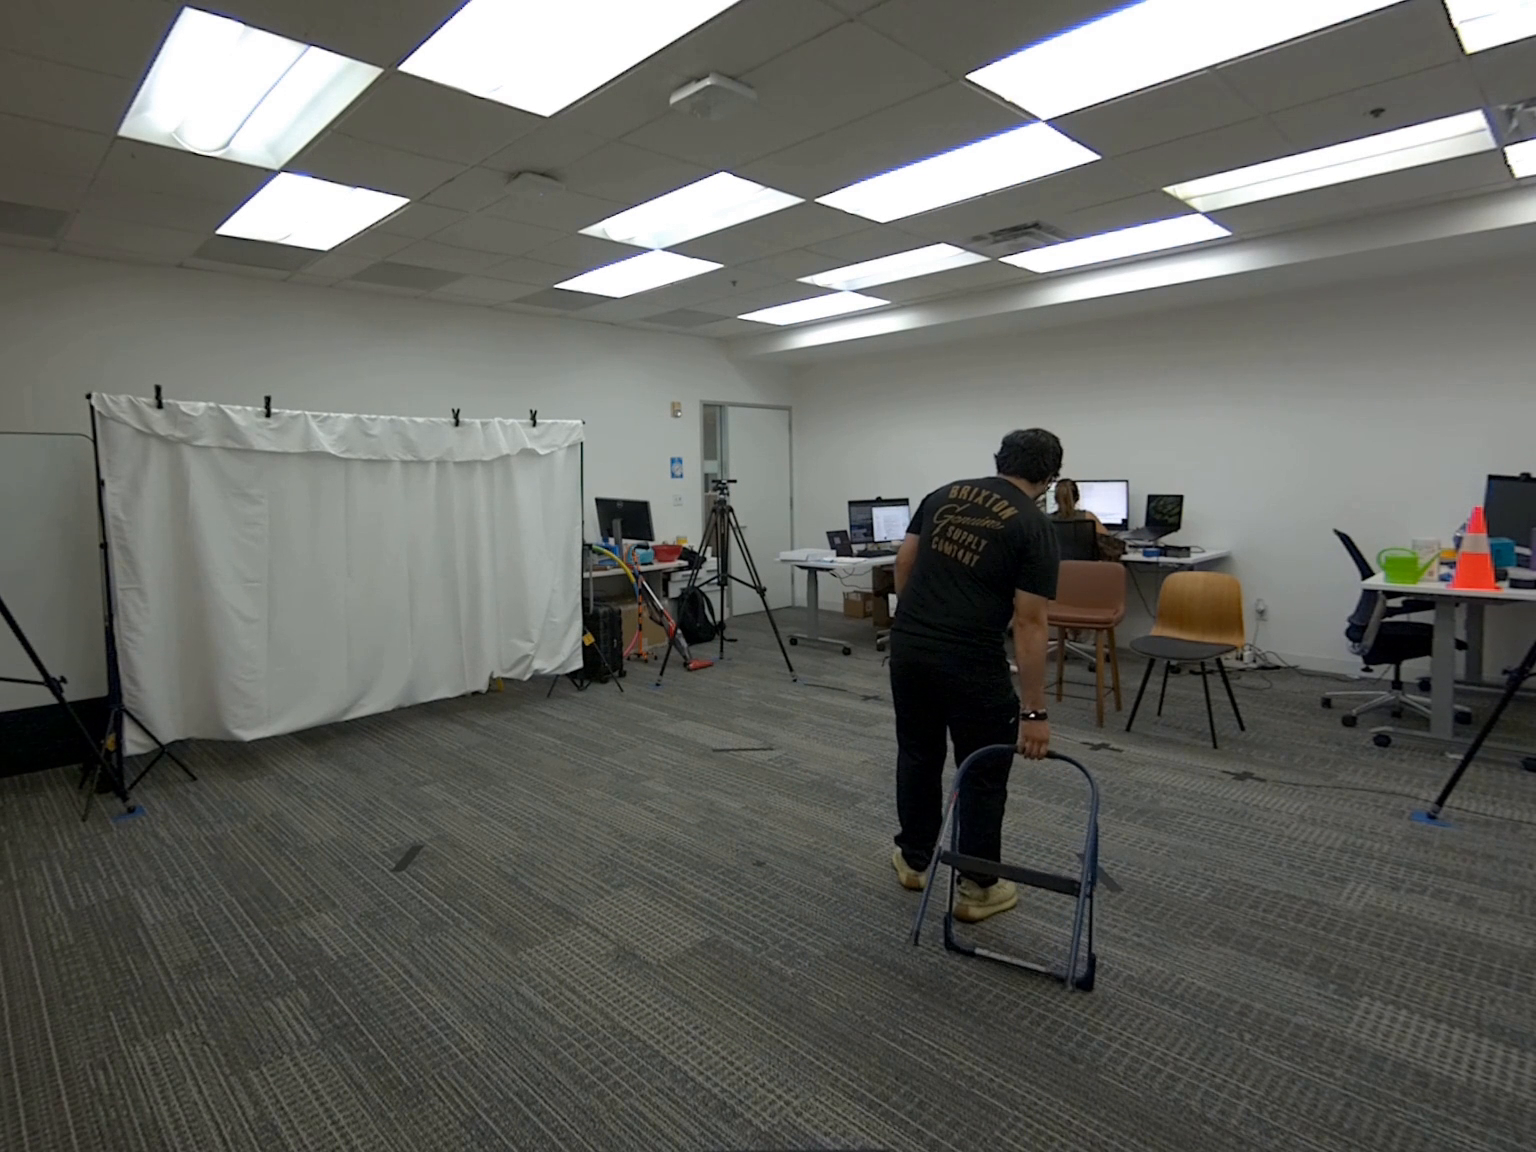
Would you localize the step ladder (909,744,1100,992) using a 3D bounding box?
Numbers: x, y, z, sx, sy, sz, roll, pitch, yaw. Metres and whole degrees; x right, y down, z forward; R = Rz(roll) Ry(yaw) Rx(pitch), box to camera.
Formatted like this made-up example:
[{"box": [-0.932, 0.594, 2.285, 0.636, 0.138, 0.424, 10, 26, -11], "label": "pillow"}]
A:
[{"box": [0.701, 0.780, 2.395, 0.442, 0.613, 0.336, 2, -22, 32], "label": "step ladder"}]
